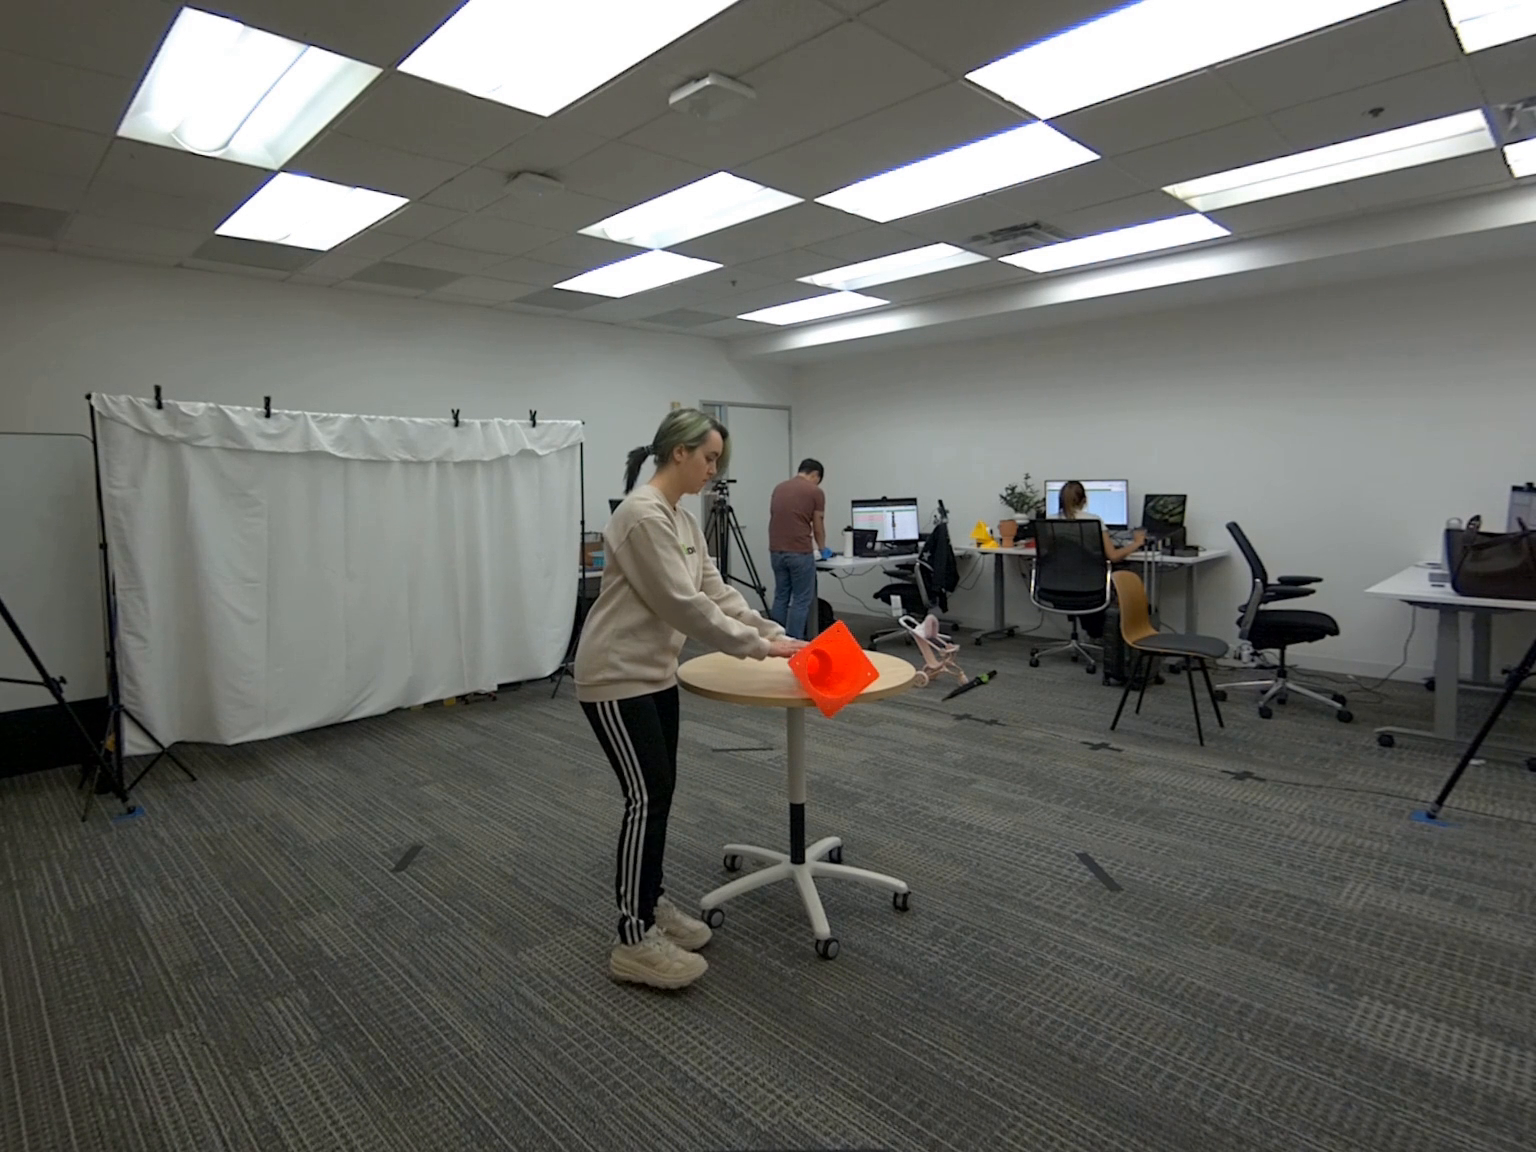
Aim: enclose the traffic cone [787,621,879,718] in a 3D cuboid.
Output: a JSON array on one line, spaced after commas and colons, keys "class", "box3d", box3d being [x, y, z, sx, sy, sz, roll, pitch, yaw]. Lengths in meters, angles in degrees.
[{"class": "traffic cone", "box3d": [0.140, 0.276, 2.562, 0.204, 0.203, 0.385, -37, 2, -12]}]
